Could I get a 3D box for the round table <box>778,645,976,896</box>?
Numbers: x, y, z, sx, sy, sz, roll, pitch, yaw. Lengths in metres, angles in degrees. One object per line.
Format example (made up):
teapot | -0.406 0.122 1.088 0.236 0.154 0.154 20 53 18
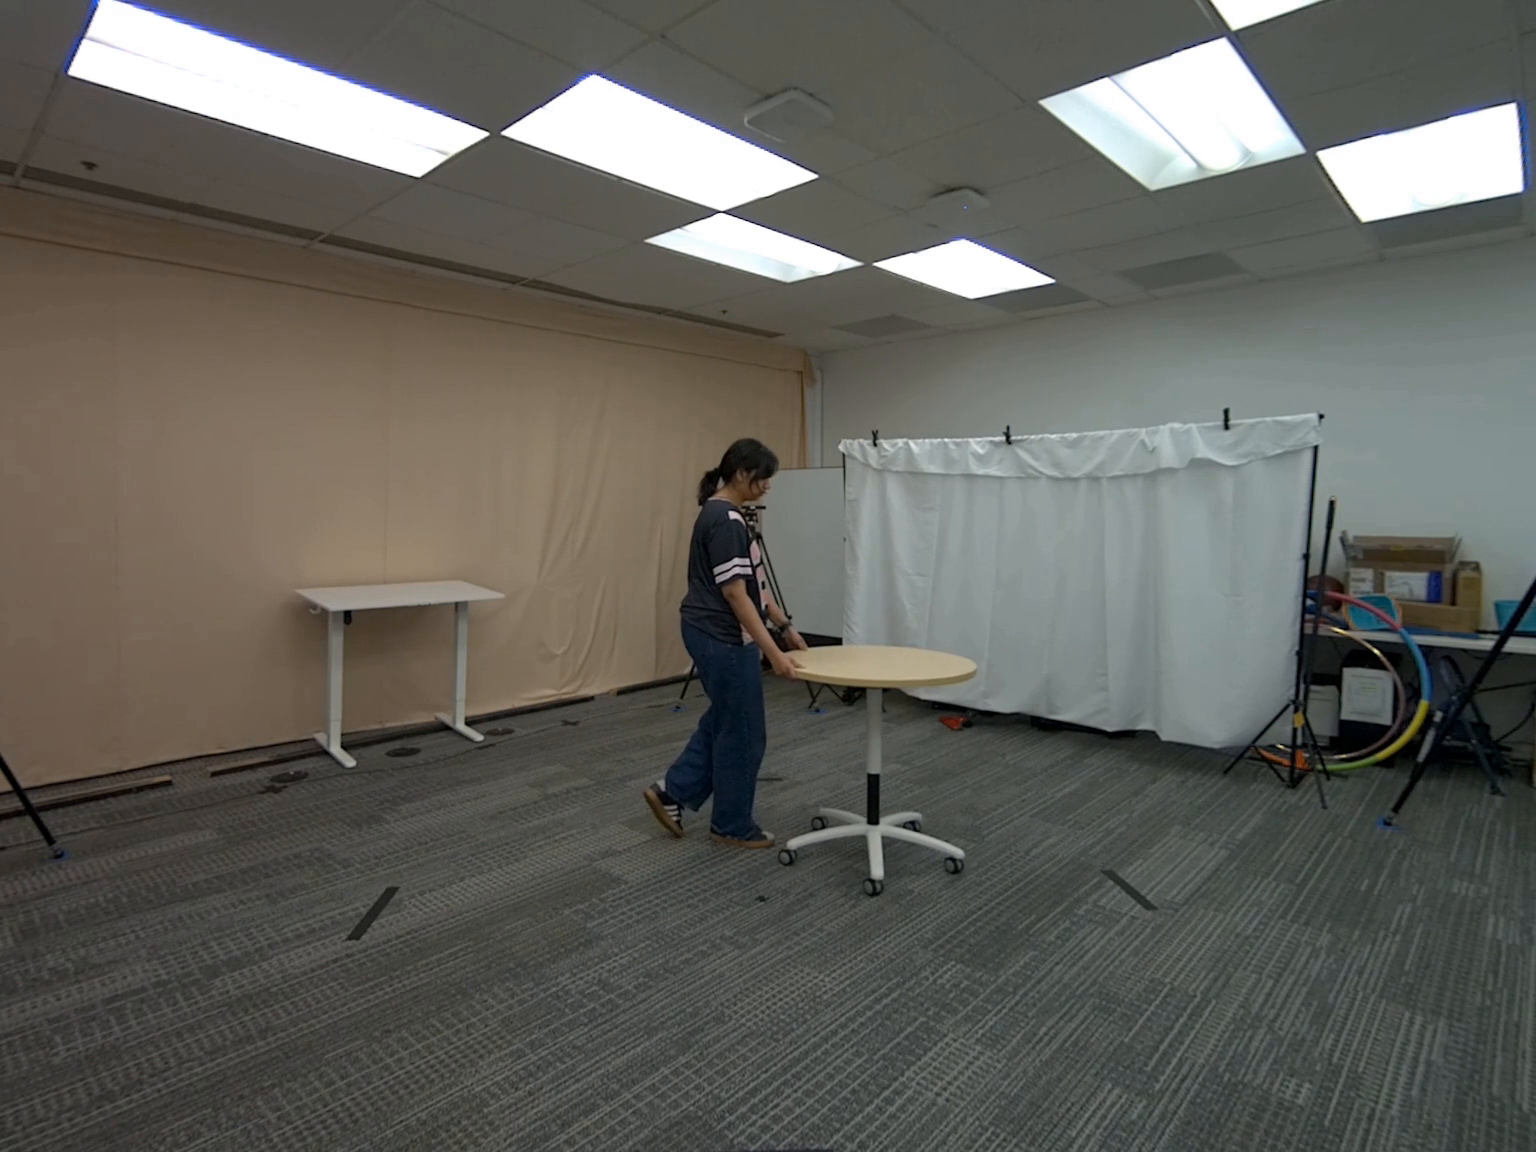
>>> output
round table | 0.419 0.728 3.302 0.763 0.792 0.766 0 3 -2
